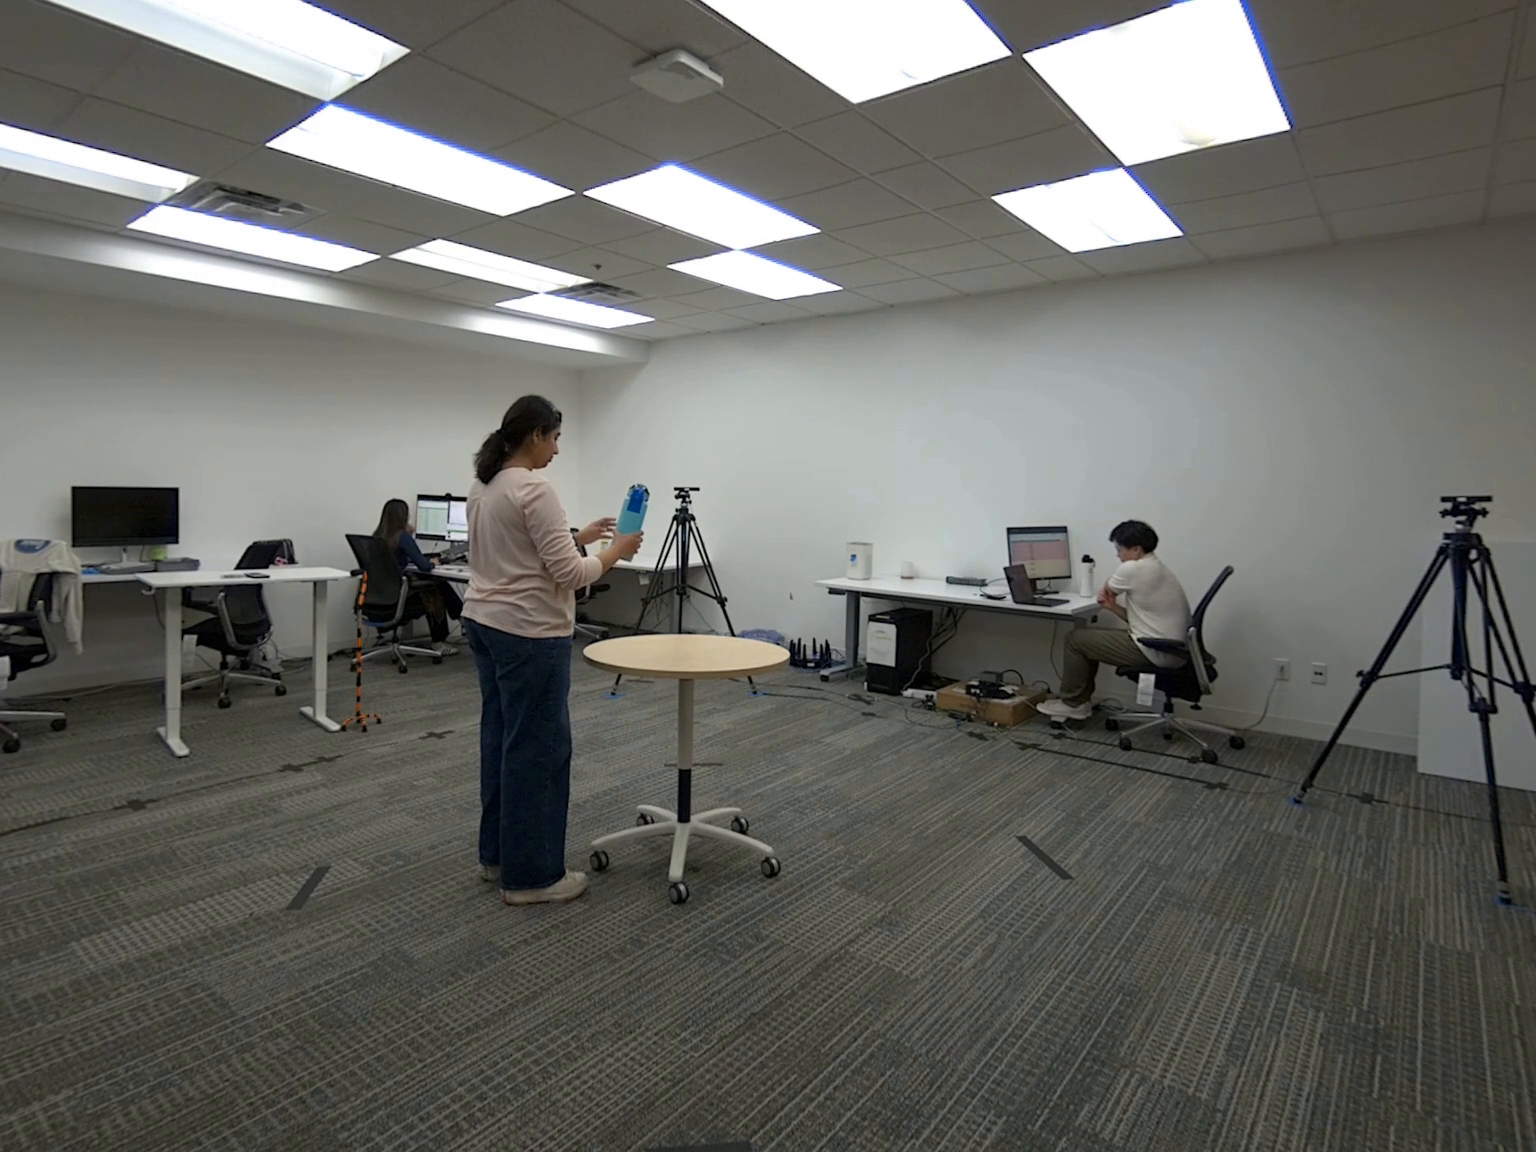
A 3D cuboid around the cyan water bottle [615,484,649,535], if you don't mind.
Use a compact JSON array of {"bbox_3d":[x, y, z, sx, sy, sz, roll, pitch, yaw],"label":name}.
[{"bbox_3d":[-0.515,-0.199,3.081,0.092,0.284,0.092,19,-2,-2],"label":"cyan water bottle"}]
